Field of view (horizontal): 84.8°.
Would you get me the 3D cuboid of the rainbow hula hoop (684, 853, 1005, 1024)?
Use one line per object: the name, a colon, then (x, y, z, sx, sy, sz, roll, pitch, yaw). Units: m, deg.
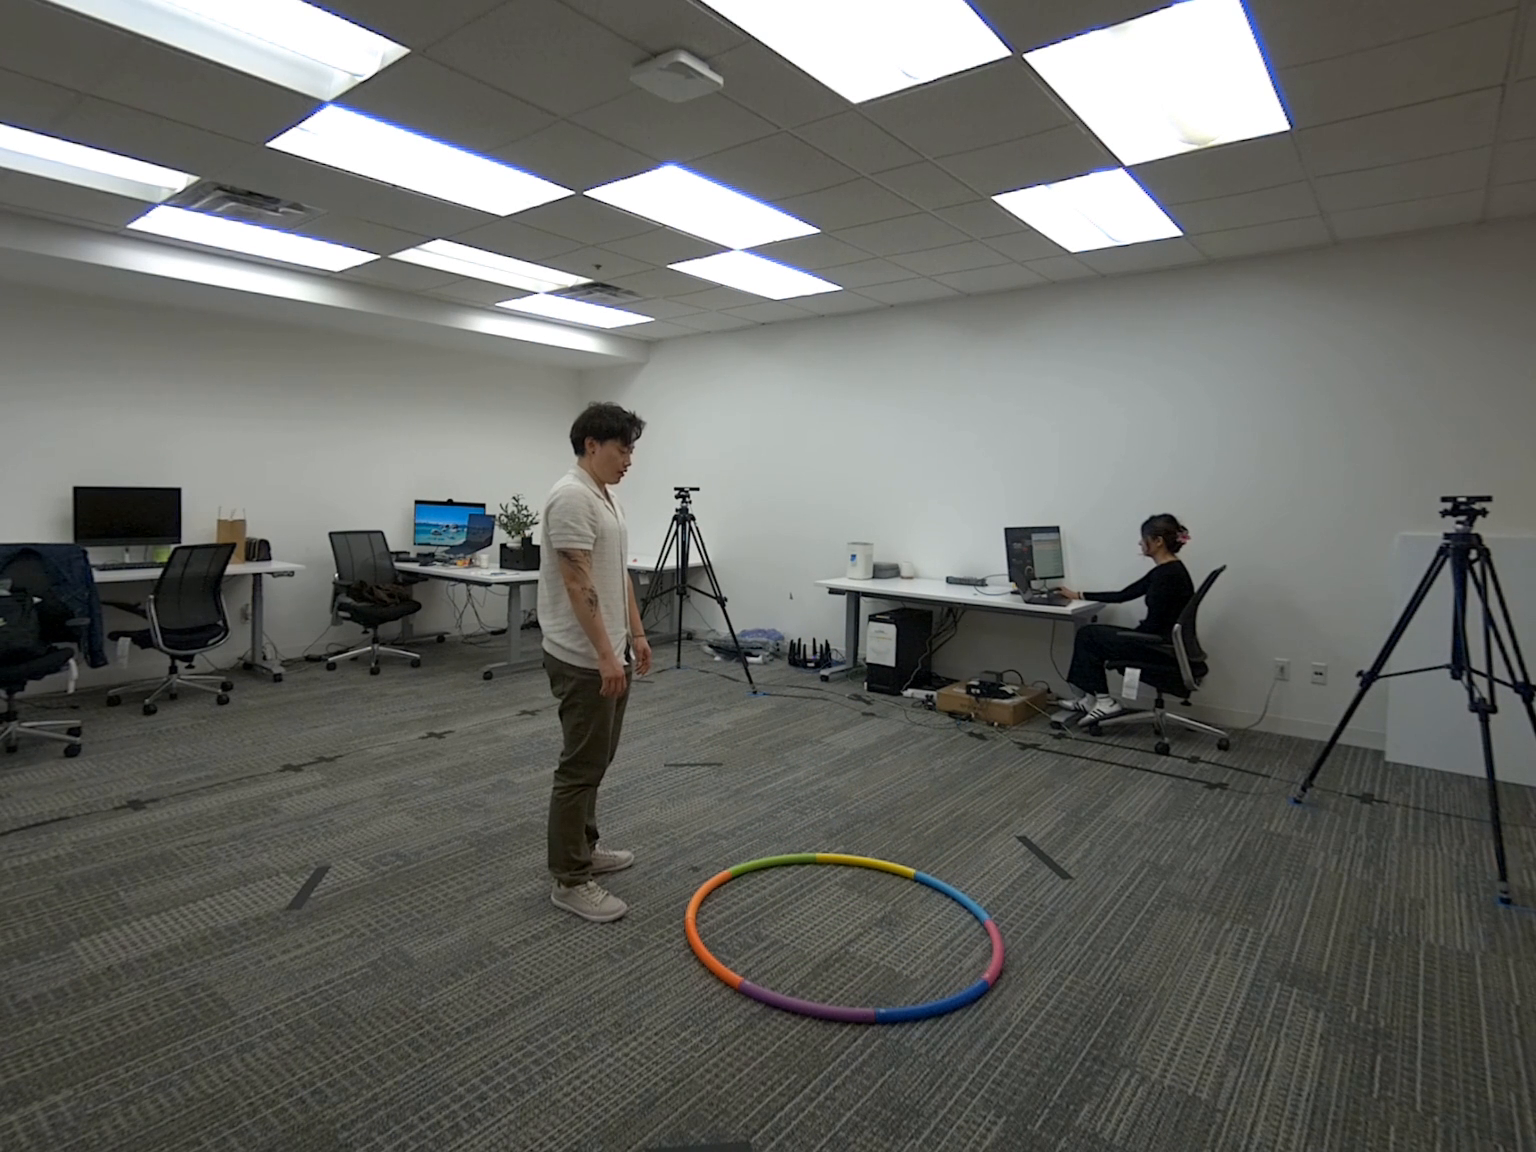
rainbow hula hoop: (0.220, 1.083, 2.707, 0.978, 0.035, 0.984, 1, 6, -2)
